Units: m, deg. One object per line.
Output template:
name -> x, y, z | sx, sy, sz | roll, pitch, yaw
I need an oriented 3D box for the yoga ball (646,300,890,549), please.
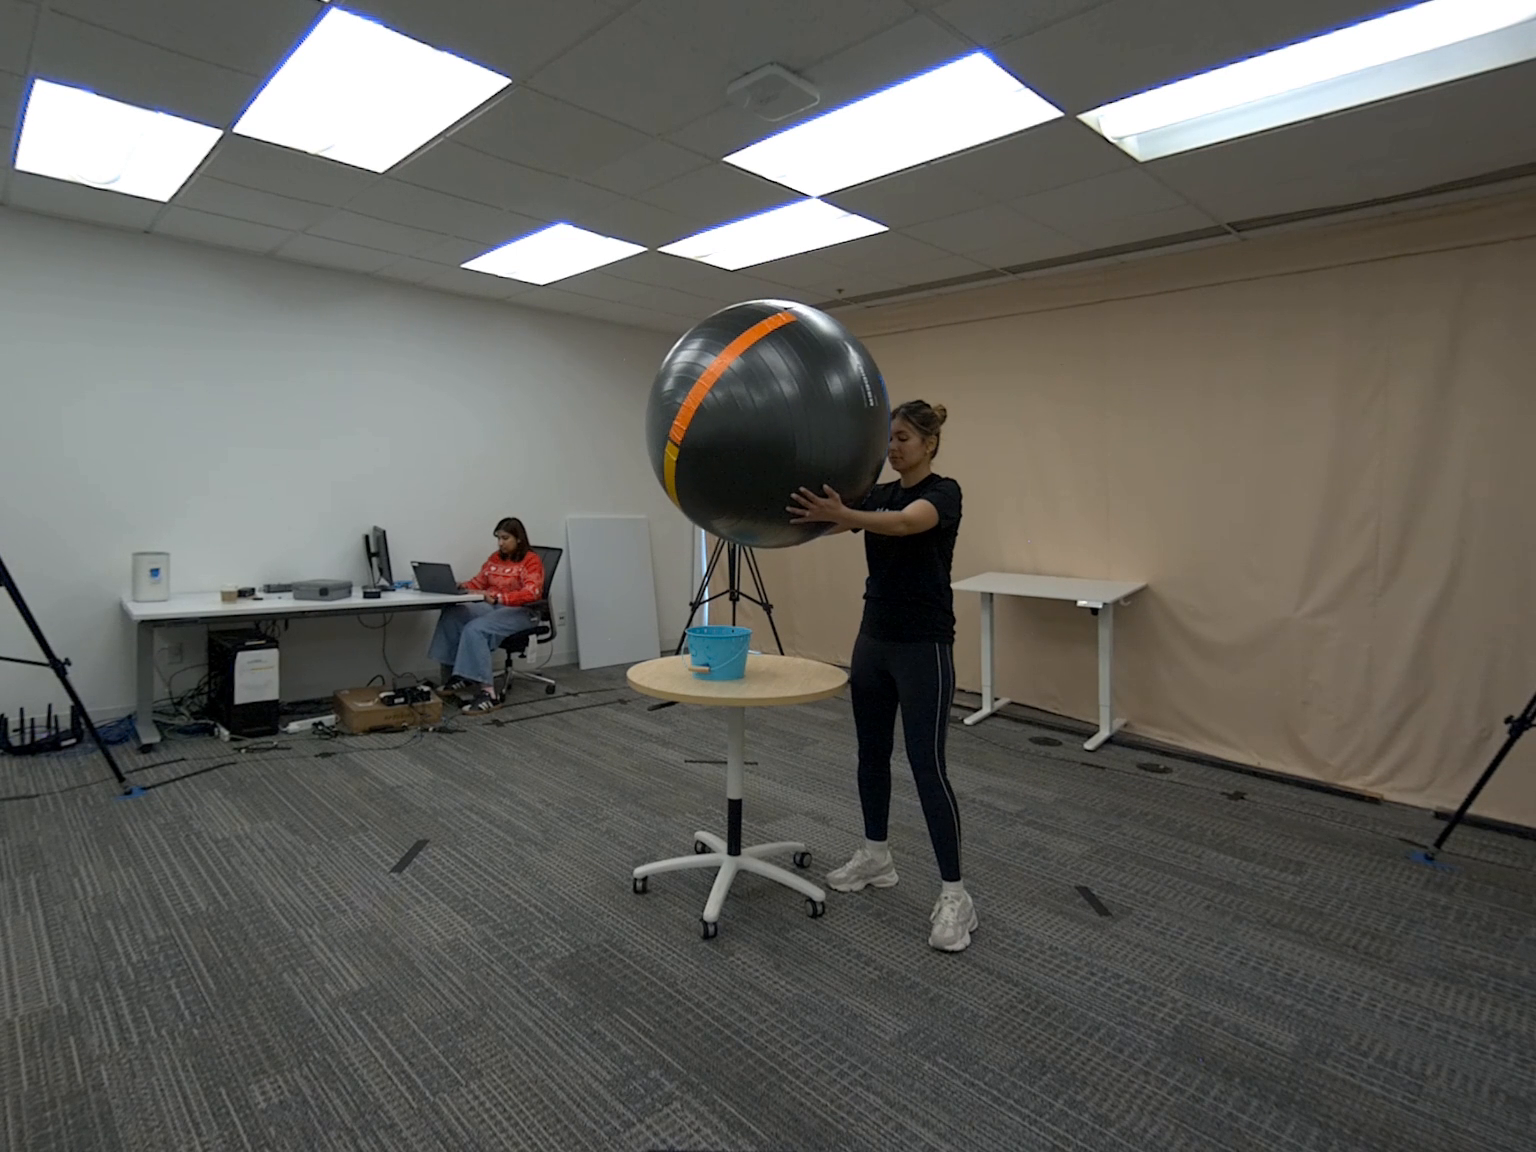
yoga ball -> -0.006, -0.457, 2.611 | 0.757, 0.756, 0.761 | 1, 4, -1
